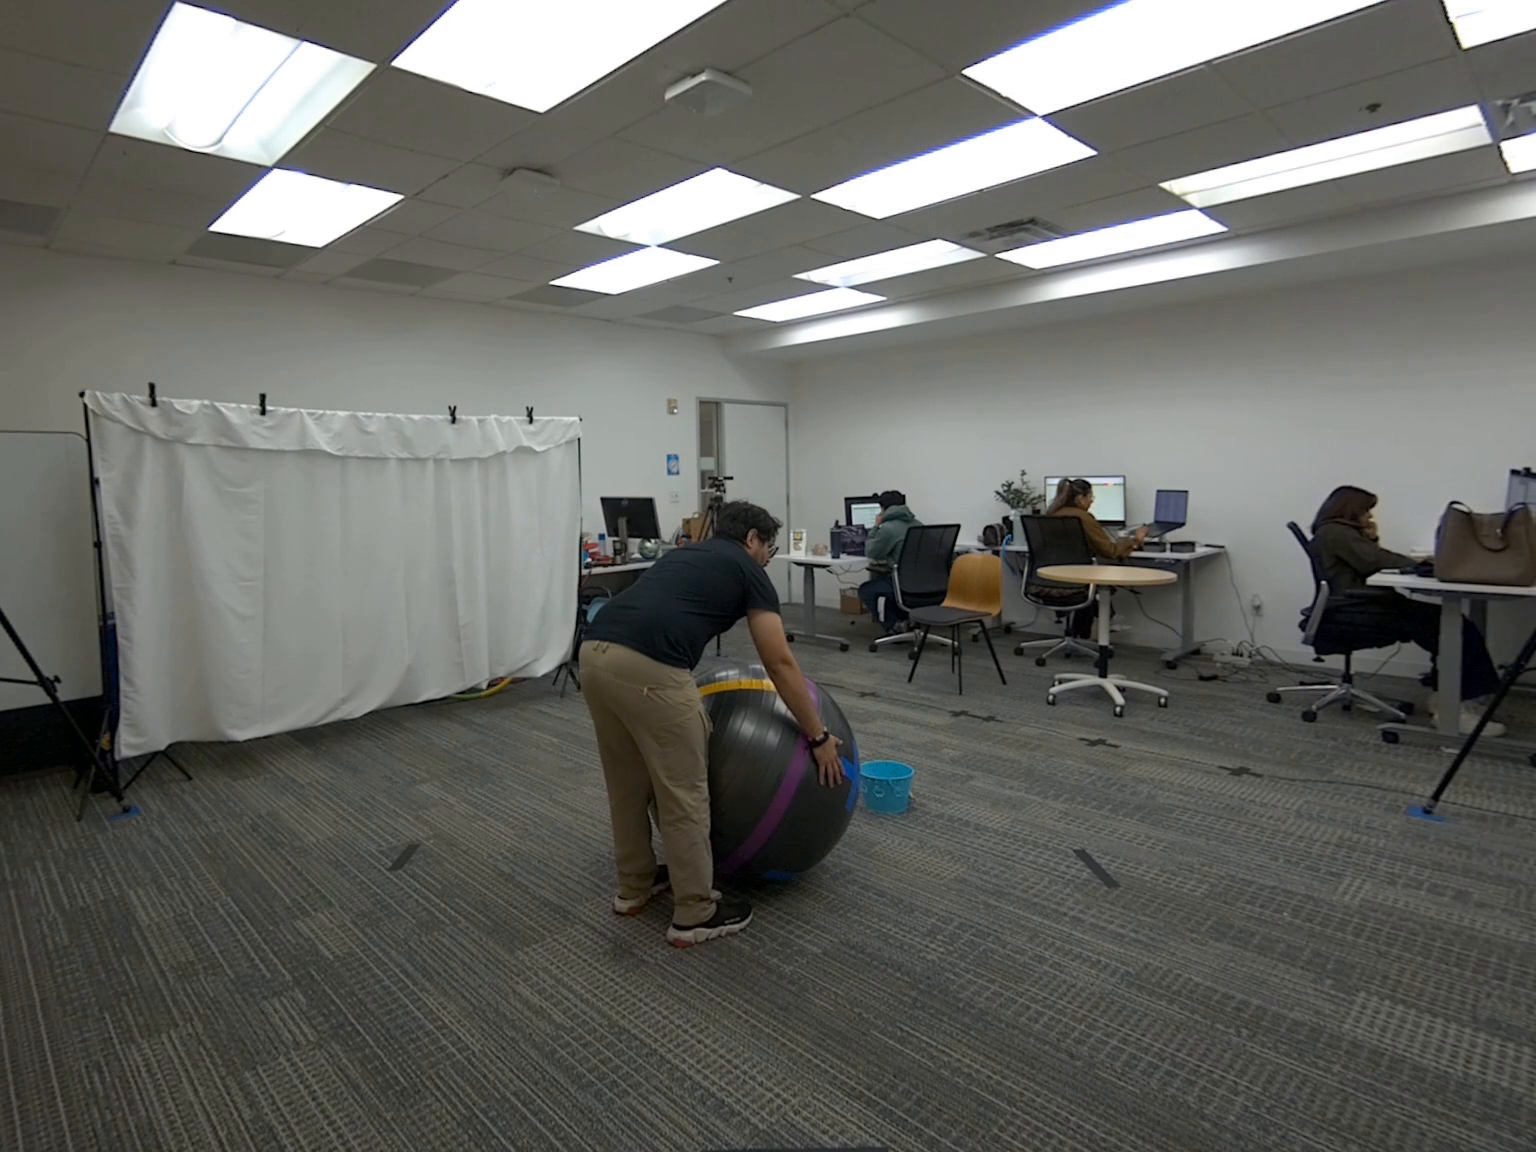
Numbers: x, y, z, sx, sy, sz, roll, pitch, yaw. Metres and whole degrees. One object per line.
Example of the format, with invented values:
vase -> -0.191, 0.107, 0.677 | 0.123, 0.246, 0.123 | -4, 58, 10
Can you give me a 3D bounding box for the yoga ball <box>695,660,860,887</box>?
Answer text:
yoga ball -> -0.060, 0.686, 3.003 | 0.757, 0.755, 0.762 | -1, 5, -2
